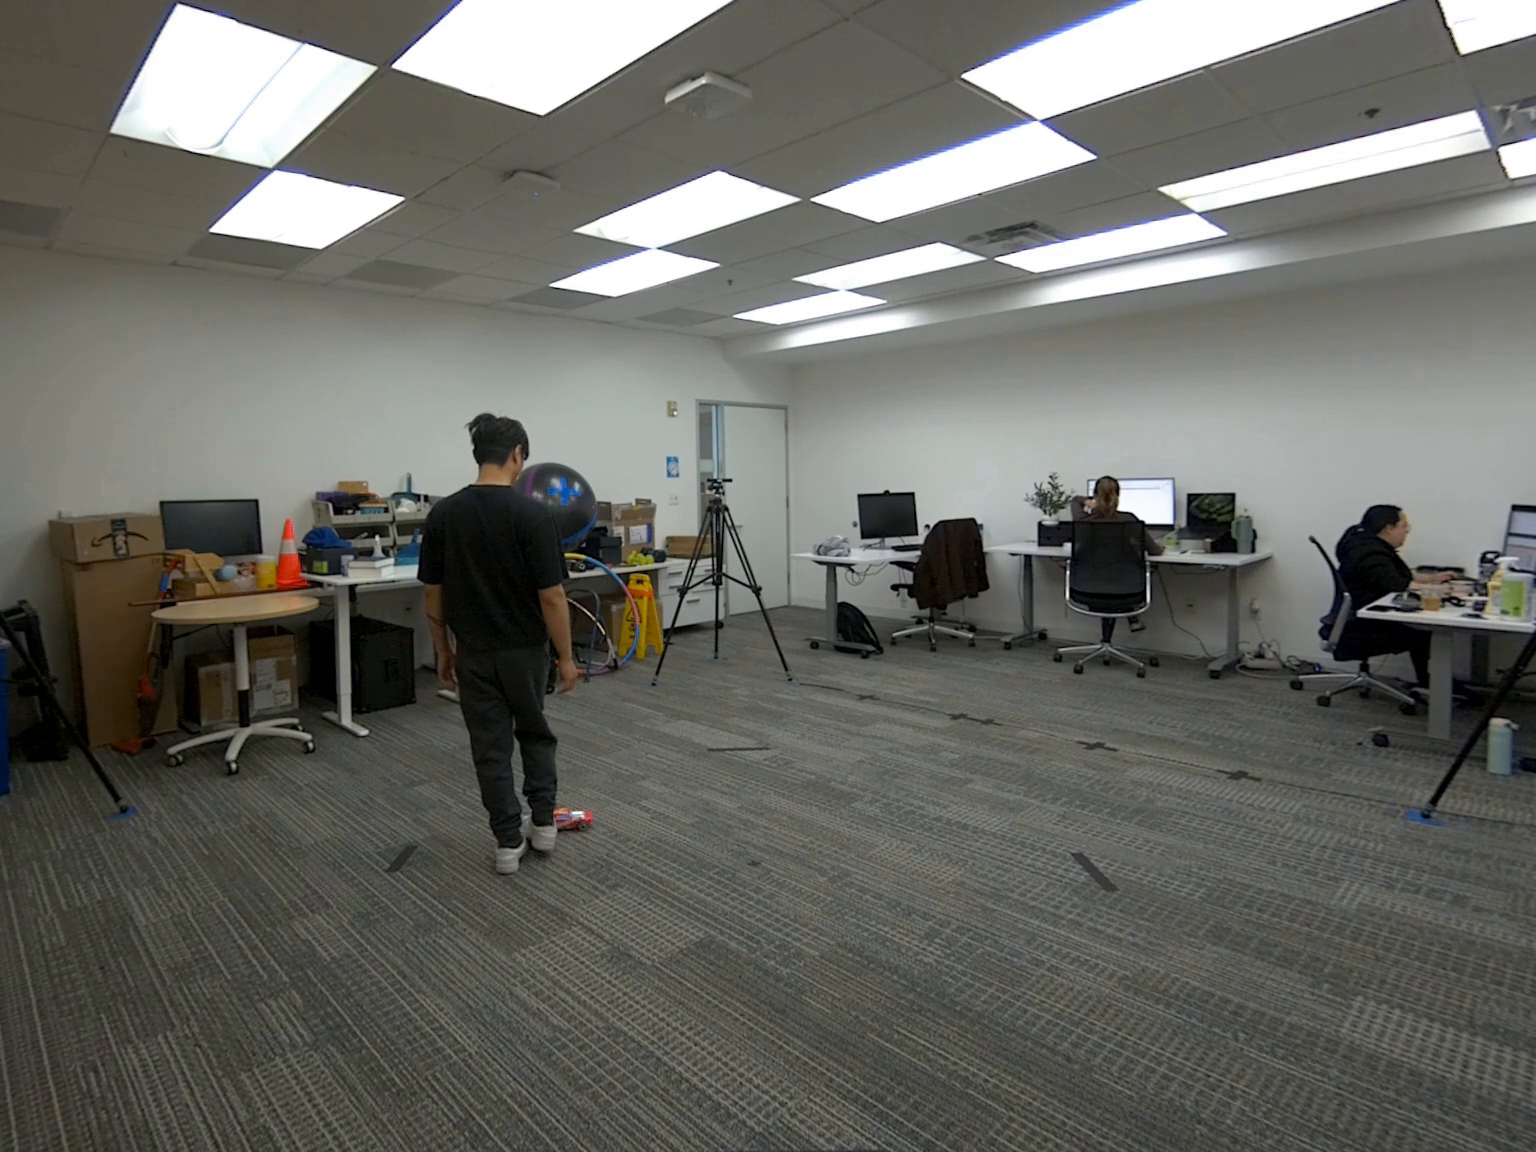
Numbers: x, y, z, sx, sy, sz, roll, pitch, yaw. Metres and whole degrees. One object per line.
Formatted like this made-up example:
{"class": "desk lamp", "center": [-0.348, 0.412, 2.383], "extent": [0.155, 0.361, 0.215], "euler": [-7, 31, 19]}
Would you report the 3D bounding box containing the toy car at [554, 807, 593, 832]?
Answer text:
{"class": "toy car", "center": [-0.843, 0.990, 3.458], "extent": [0.252, 0.083, 0.132], "euler": [9, 3, -10]}
